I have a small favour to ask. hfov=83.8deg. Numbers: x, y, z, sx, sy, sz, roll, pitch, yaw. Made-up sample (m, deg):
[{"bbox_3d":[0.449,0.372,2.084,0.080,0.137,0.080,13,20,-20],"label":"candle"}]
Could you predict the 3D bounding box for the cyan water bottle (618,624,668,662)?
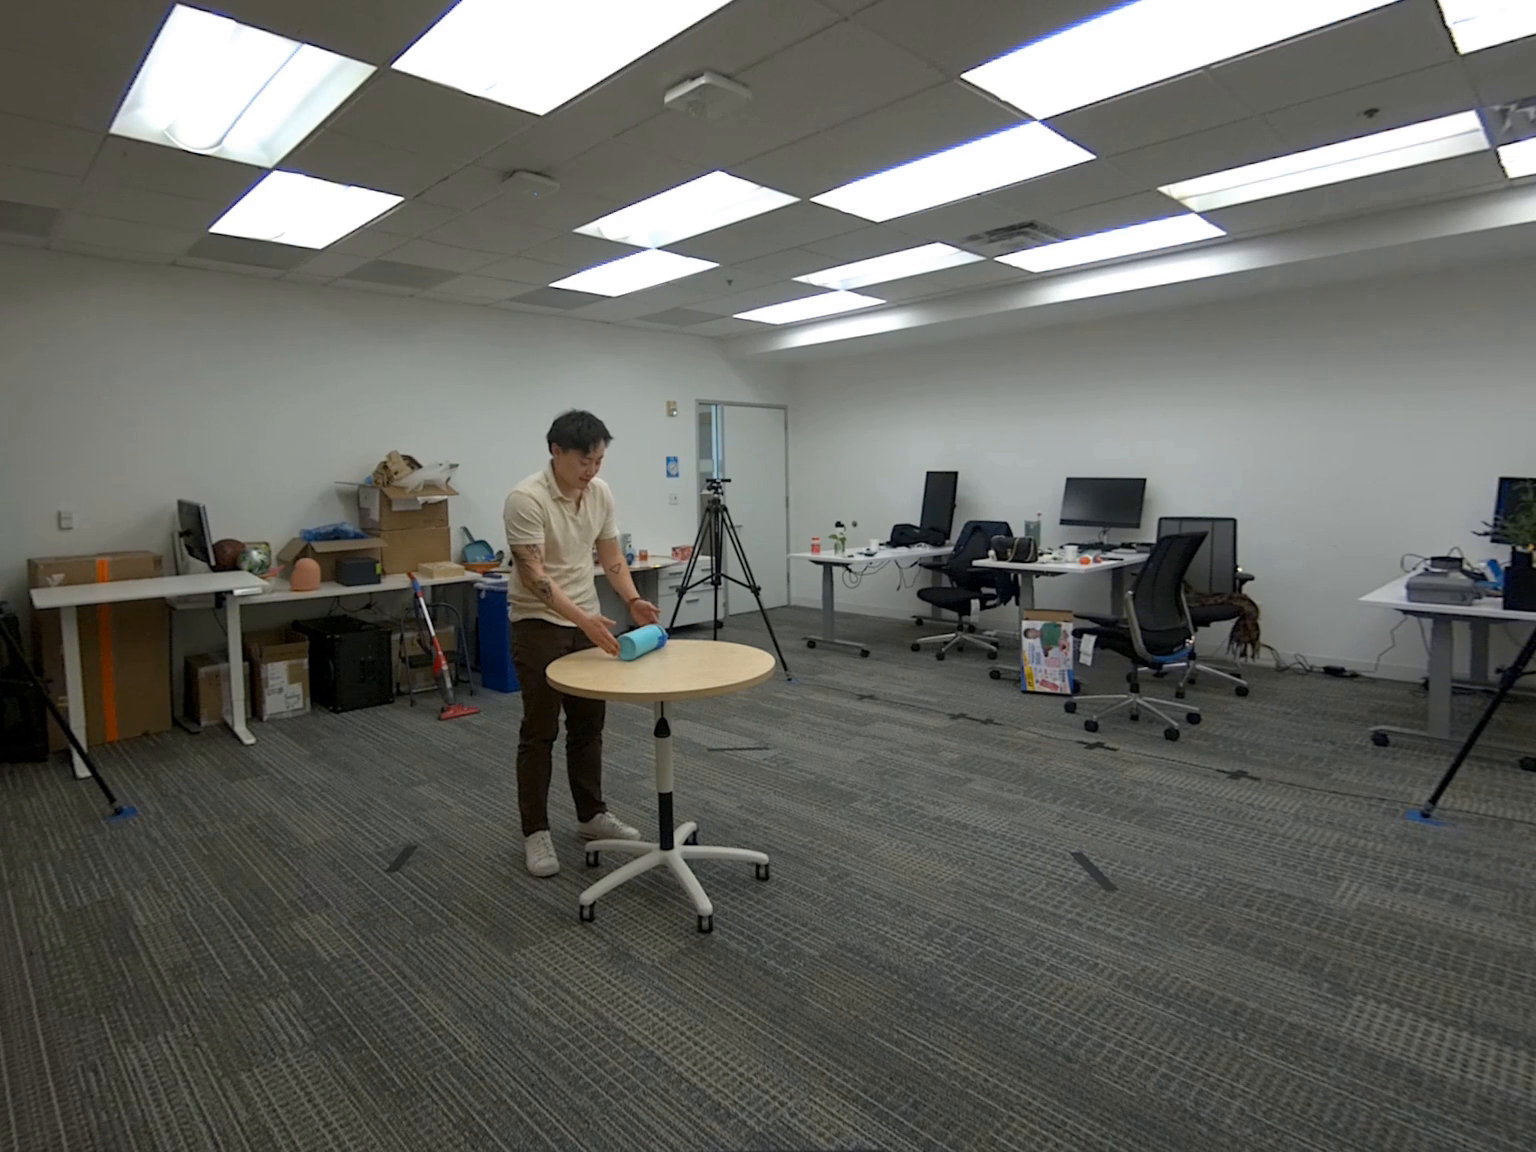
[{"bbox_3d":[-0.450,0.229,3.037,0.094,0.092,0.279,1,5,18],"label":"cyan water bottle"}]
